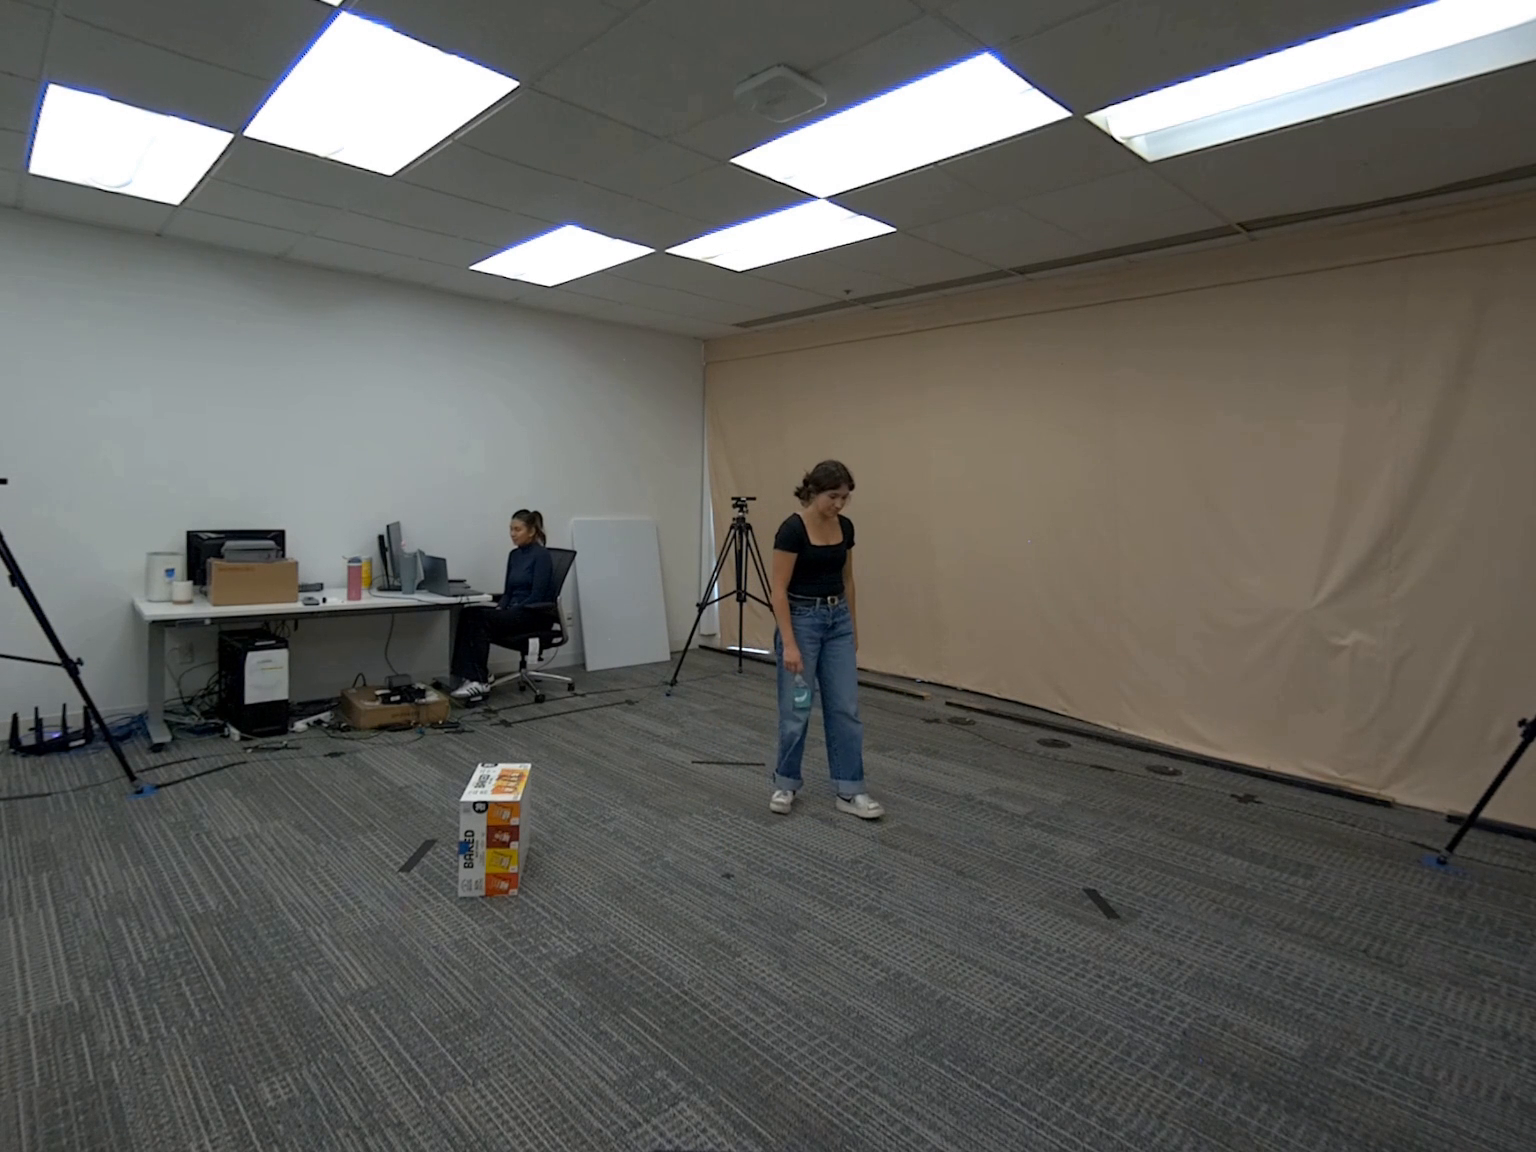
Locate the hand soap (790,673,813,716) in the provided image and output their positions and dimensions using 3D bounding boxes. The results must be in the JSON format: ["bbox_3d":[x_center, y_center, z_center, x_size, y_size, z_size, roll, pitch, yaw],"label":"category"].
[{"bbox_3d":[0.118,0.474,3.621,0.085,0.168,0.043,0,2,10],"label":"hand soap"}]
